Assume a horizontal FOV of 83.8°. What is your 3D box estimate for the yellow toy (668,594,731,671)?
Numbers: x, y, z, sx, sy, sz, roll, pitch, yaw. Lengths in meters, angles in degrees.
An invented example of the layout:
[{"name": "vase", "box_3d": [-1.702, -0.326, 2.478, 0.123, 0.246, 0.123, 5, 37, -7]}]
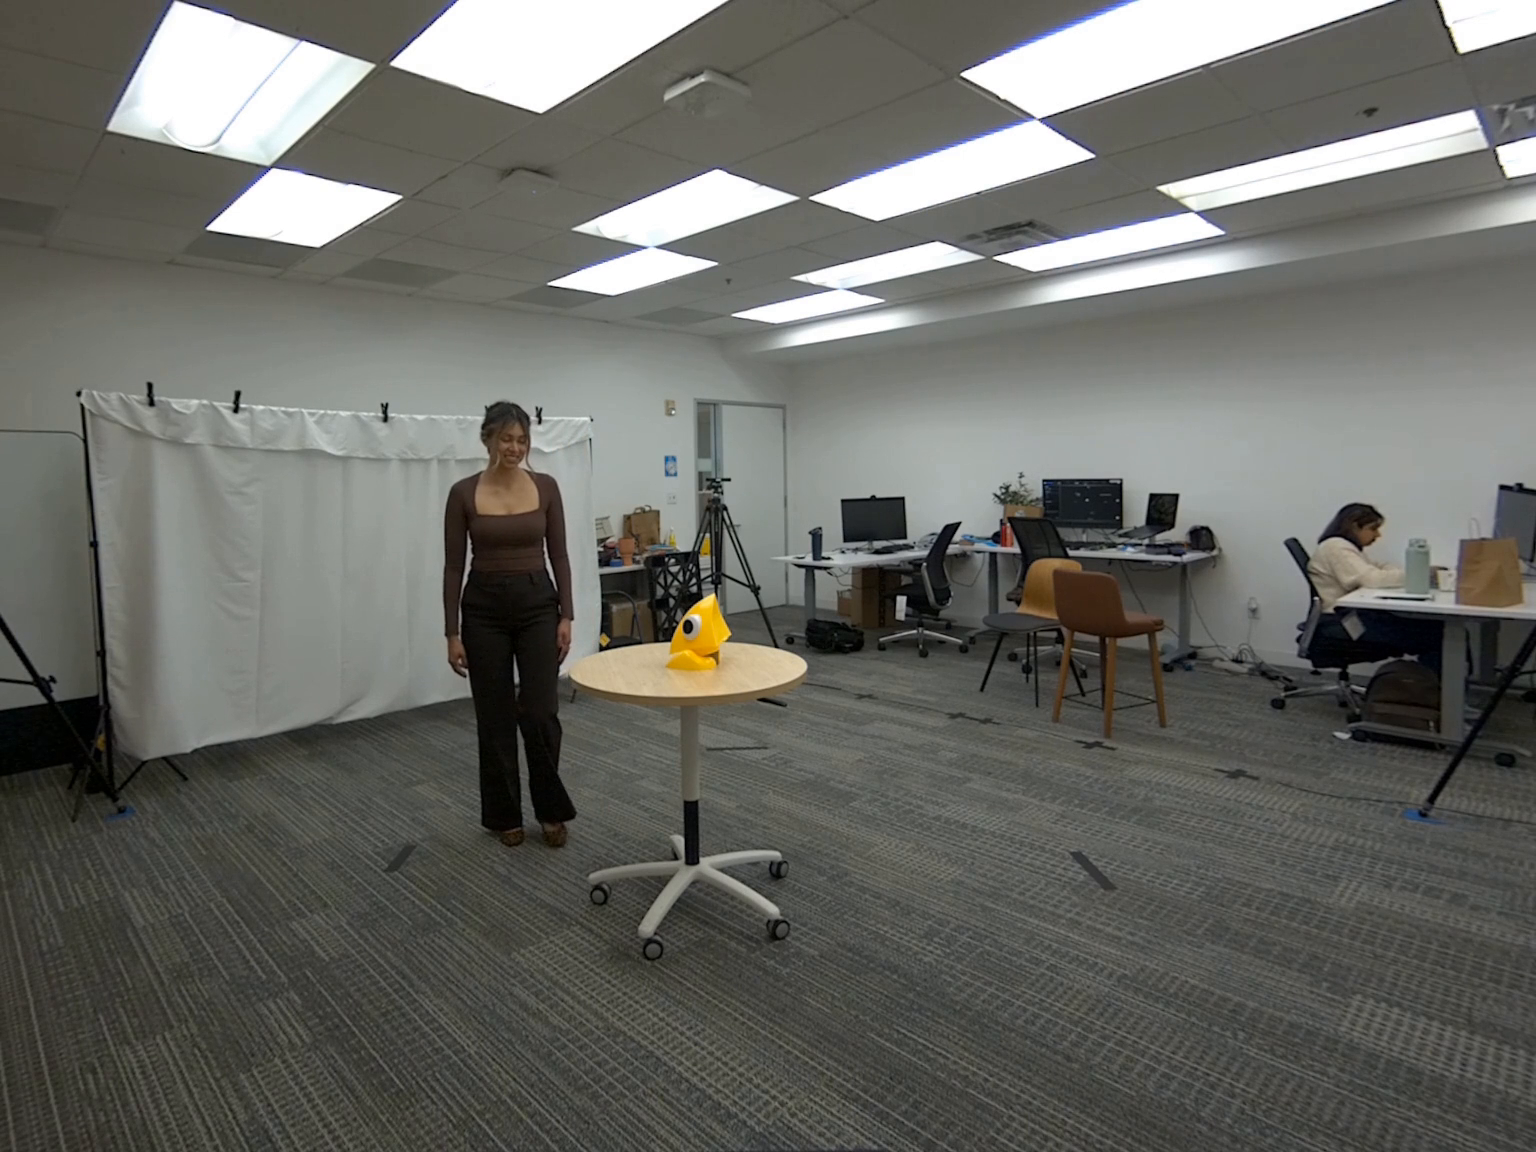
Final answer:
[{"name": "yellow toy", "box_3d": [-0.228, 0.170, 2.781, 0.195, 0.230, 0.203, 1, 5, 12]}]
